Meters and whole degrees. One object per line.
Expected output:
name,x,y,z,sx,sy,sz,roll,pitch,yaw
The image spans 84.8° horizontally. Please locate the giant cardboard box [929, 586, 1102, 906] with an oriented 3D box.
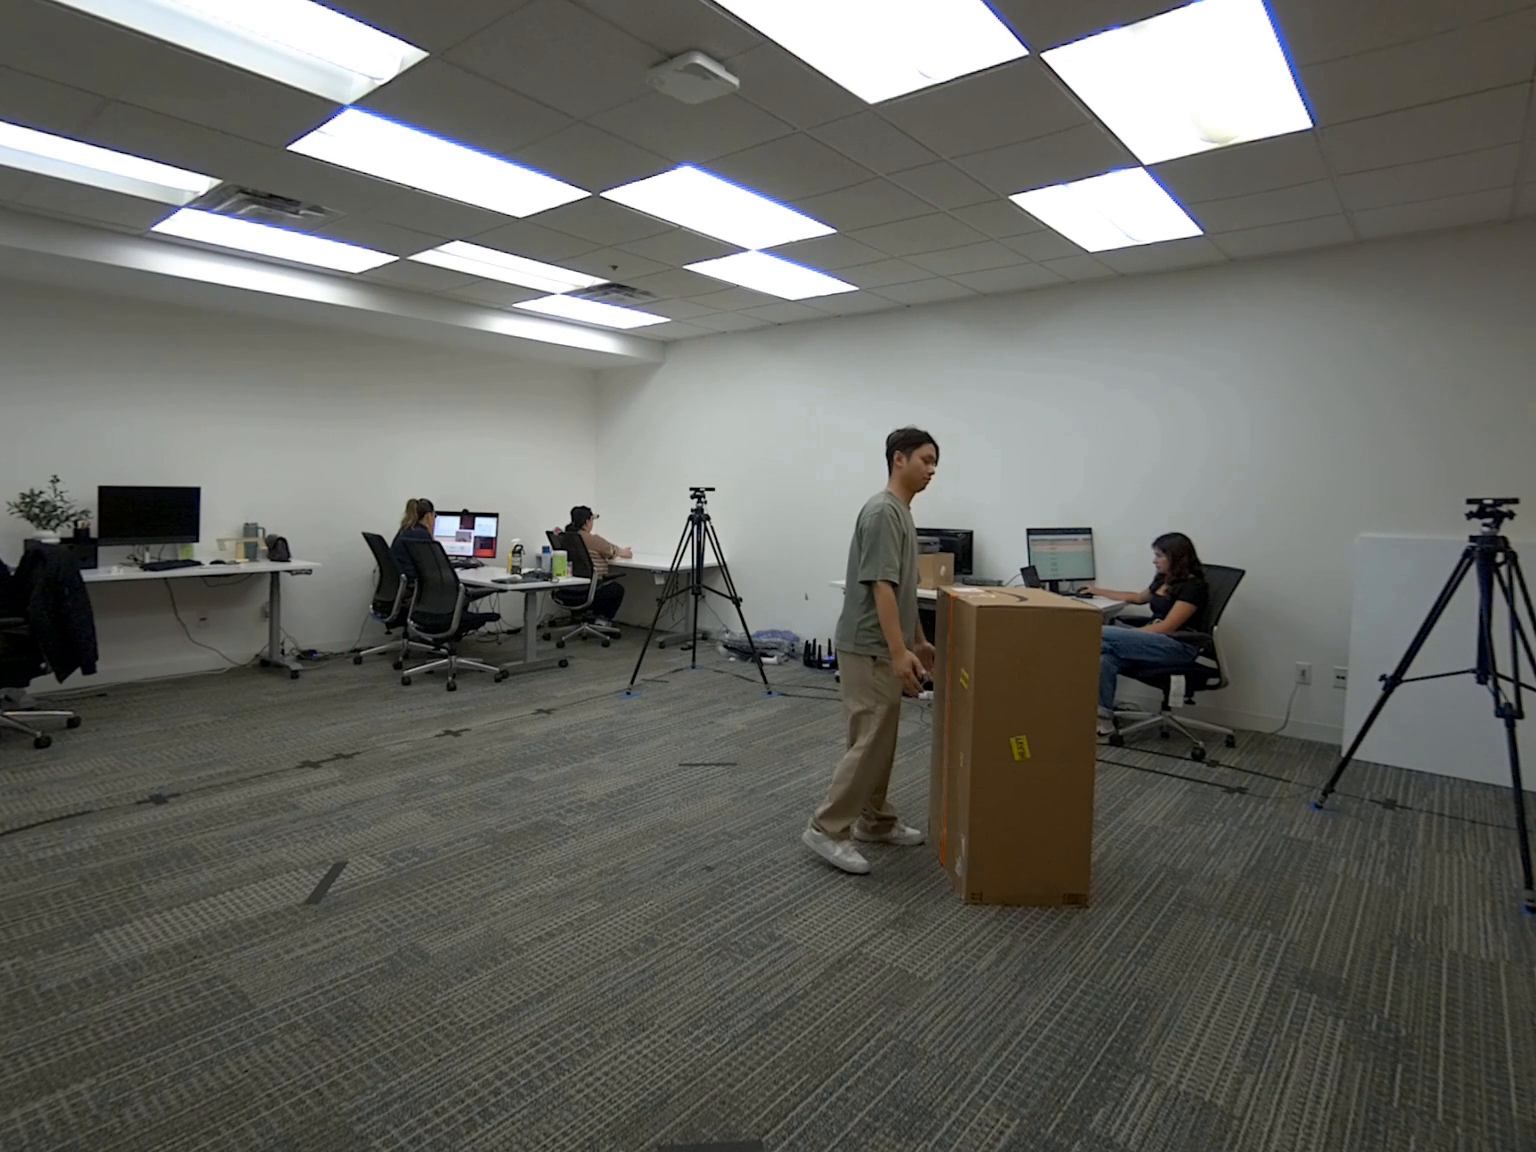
giant cardboard box,0.884,0.583,3.144,0.426,1.023,0.579,2,4,-1
